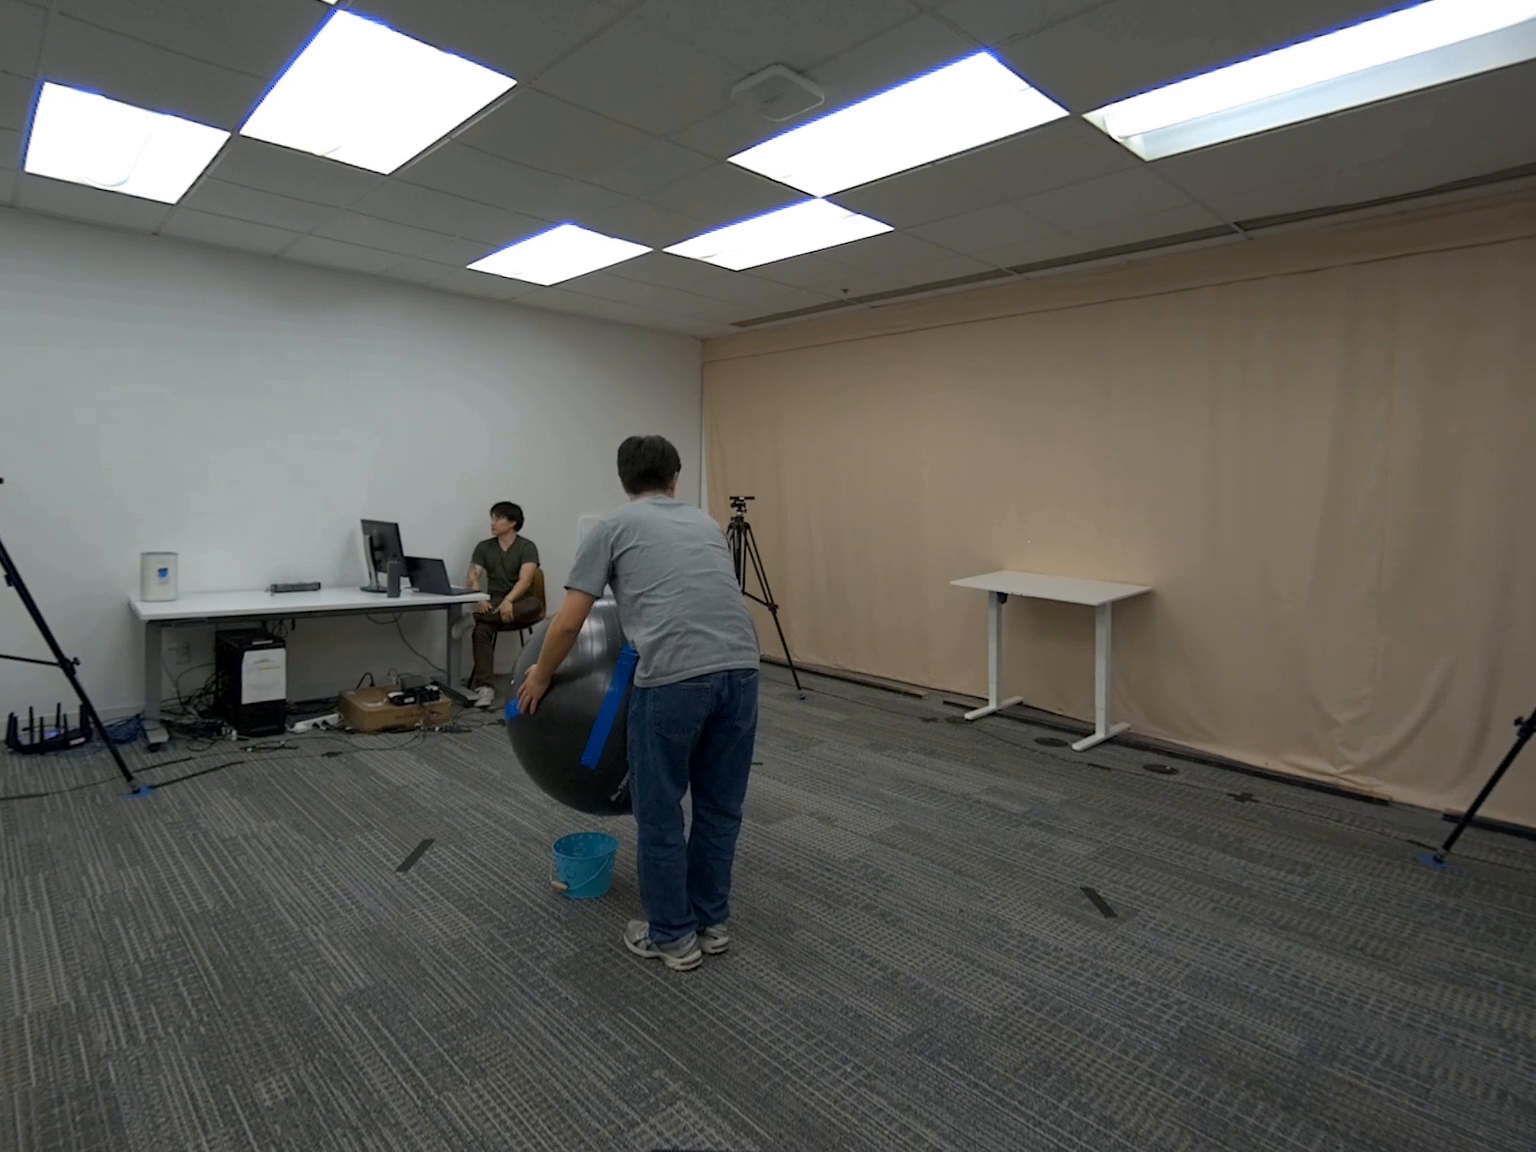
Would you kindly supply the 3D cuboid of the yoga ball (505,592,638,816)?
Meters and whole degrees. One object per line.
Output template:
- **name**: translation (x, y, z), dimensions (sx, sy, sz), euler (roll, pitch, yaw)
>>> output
- **yoga ball**: translation (-0.537, 0.453, 2.980), dimensions (0.757, 0.756, 0.761), euler (1, 4, -1)
